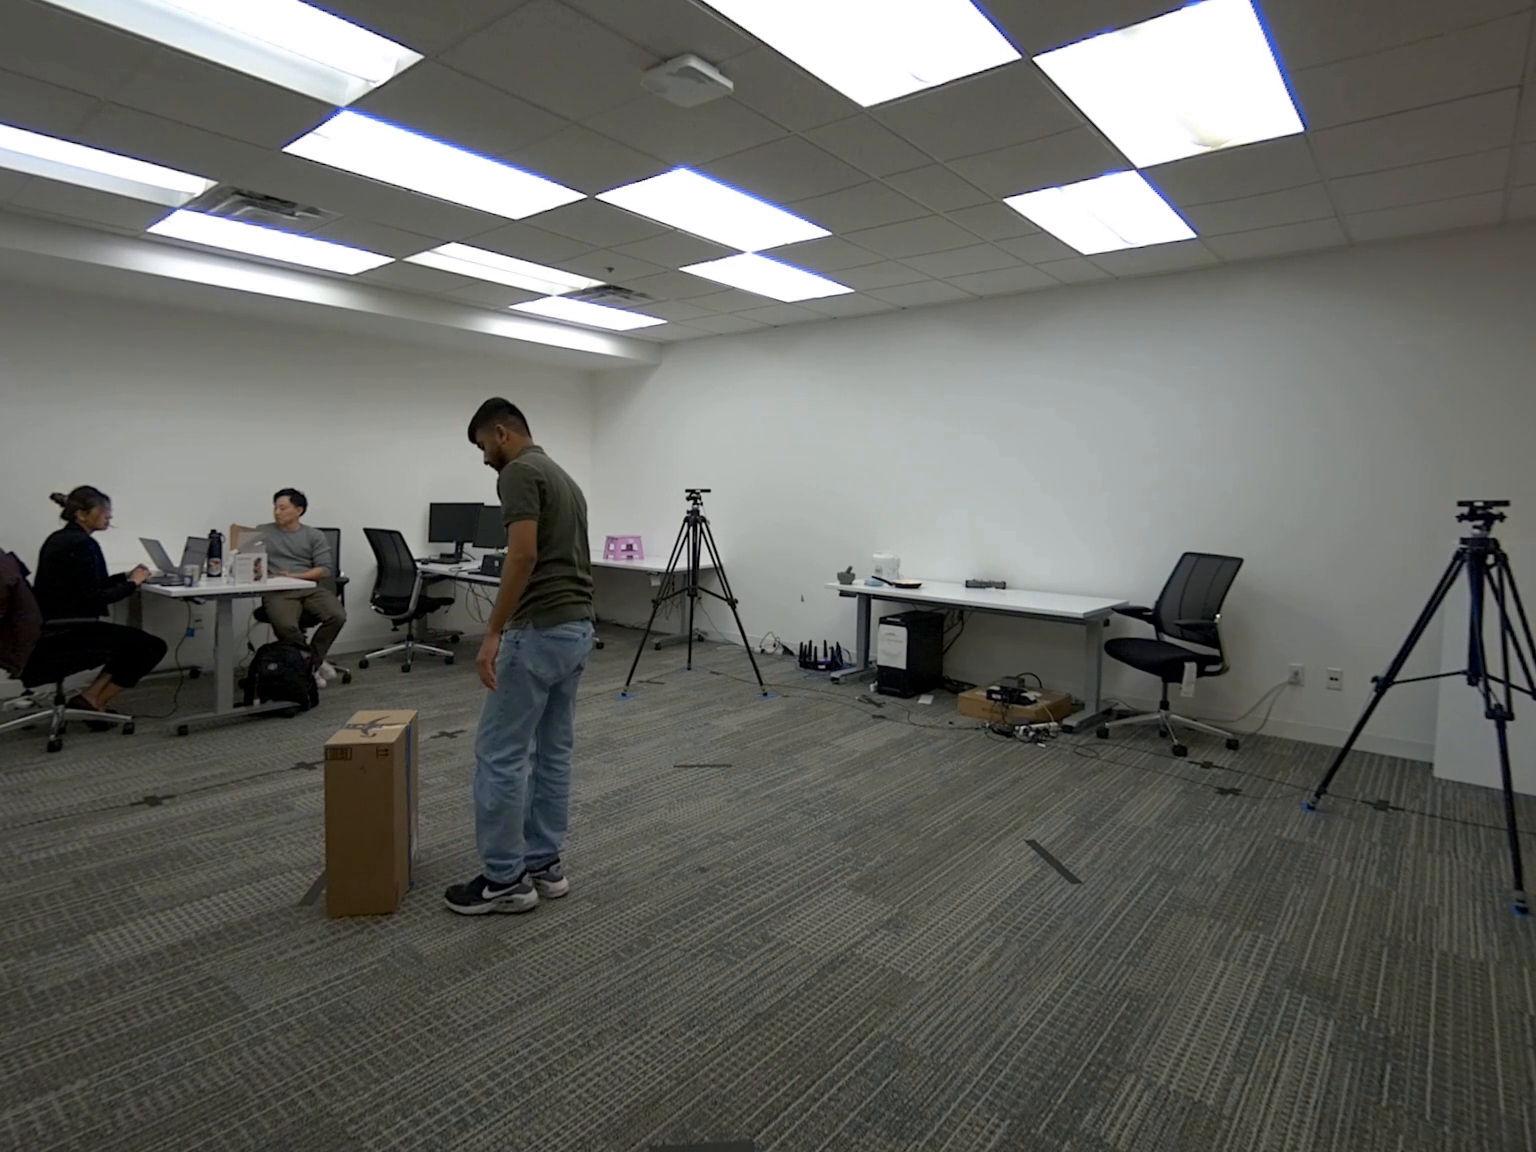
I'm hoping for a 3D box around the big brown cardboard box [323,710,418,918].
[{"bbox_3d":[-1.363,0.797,2.922,0.230,0.587,0.424,0,4,-12],"label":"big brown cardboard box"}]
